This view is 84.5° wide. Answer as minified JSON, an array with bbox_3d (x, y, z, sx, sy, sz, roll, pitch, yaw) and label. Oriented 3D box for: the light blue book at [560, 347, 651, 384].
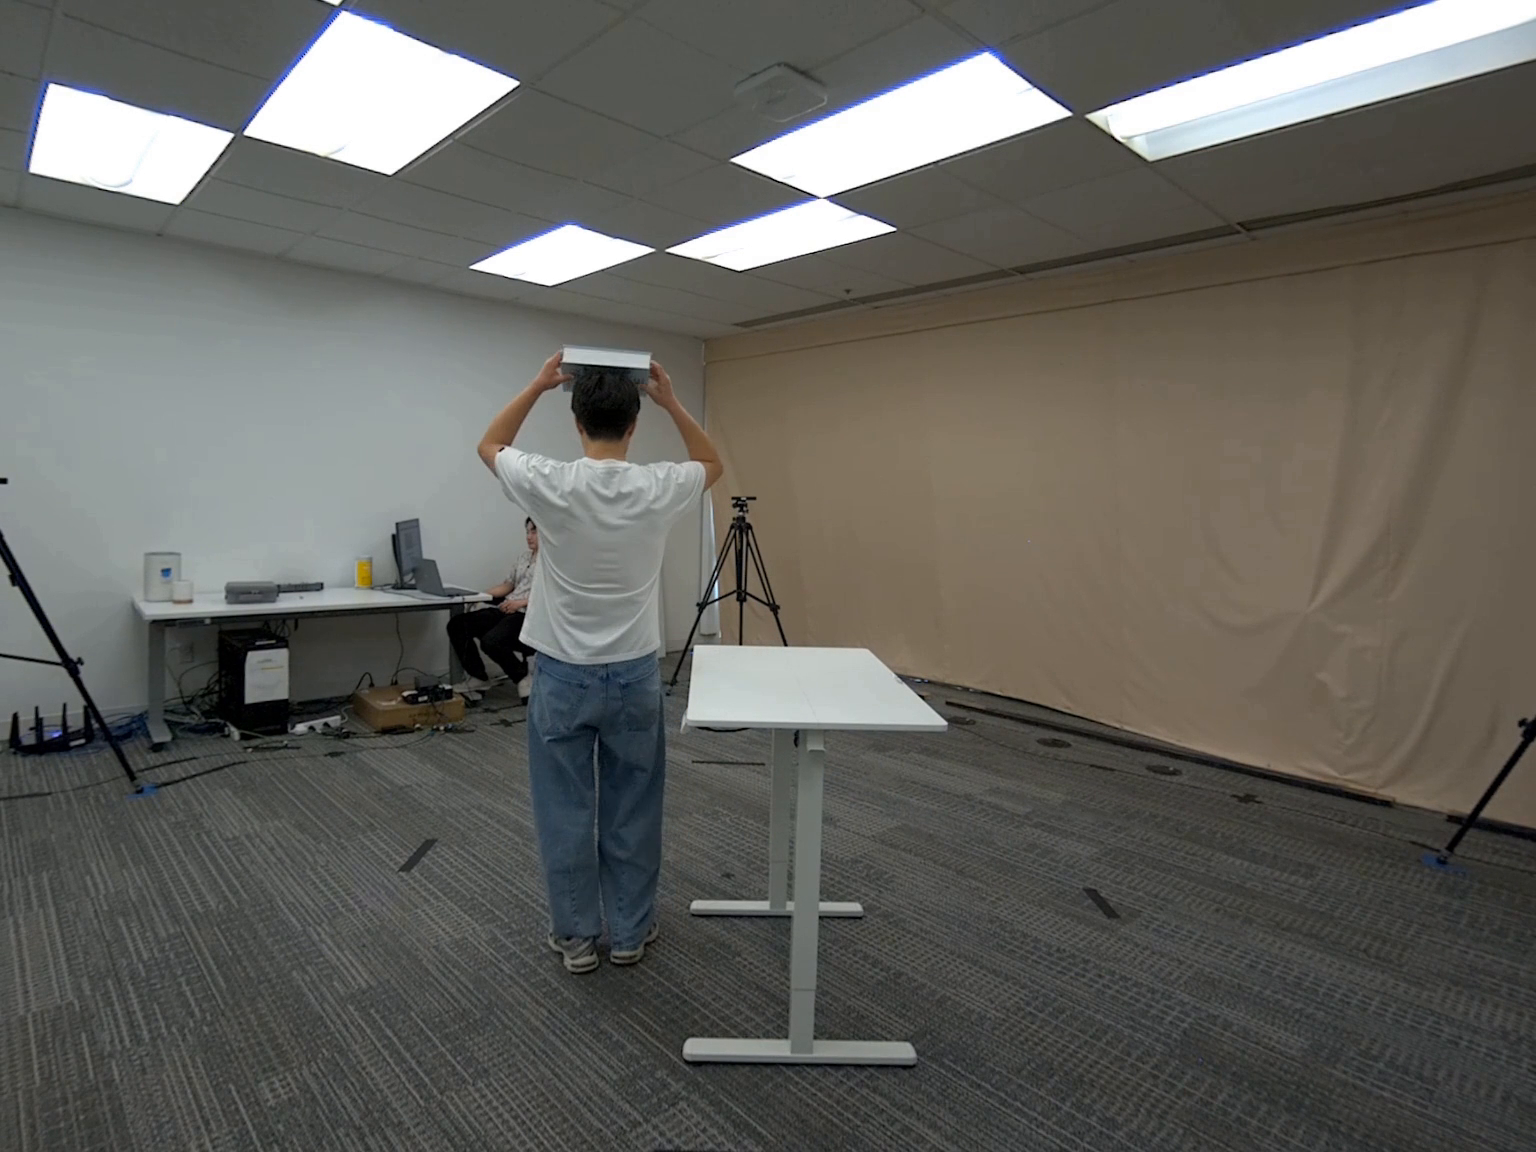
[{"bbox_3d":[-0.500,-0.615,2.574,0.259,0.060,0.190,4,-16,-9],"label":"light blue book"}]
